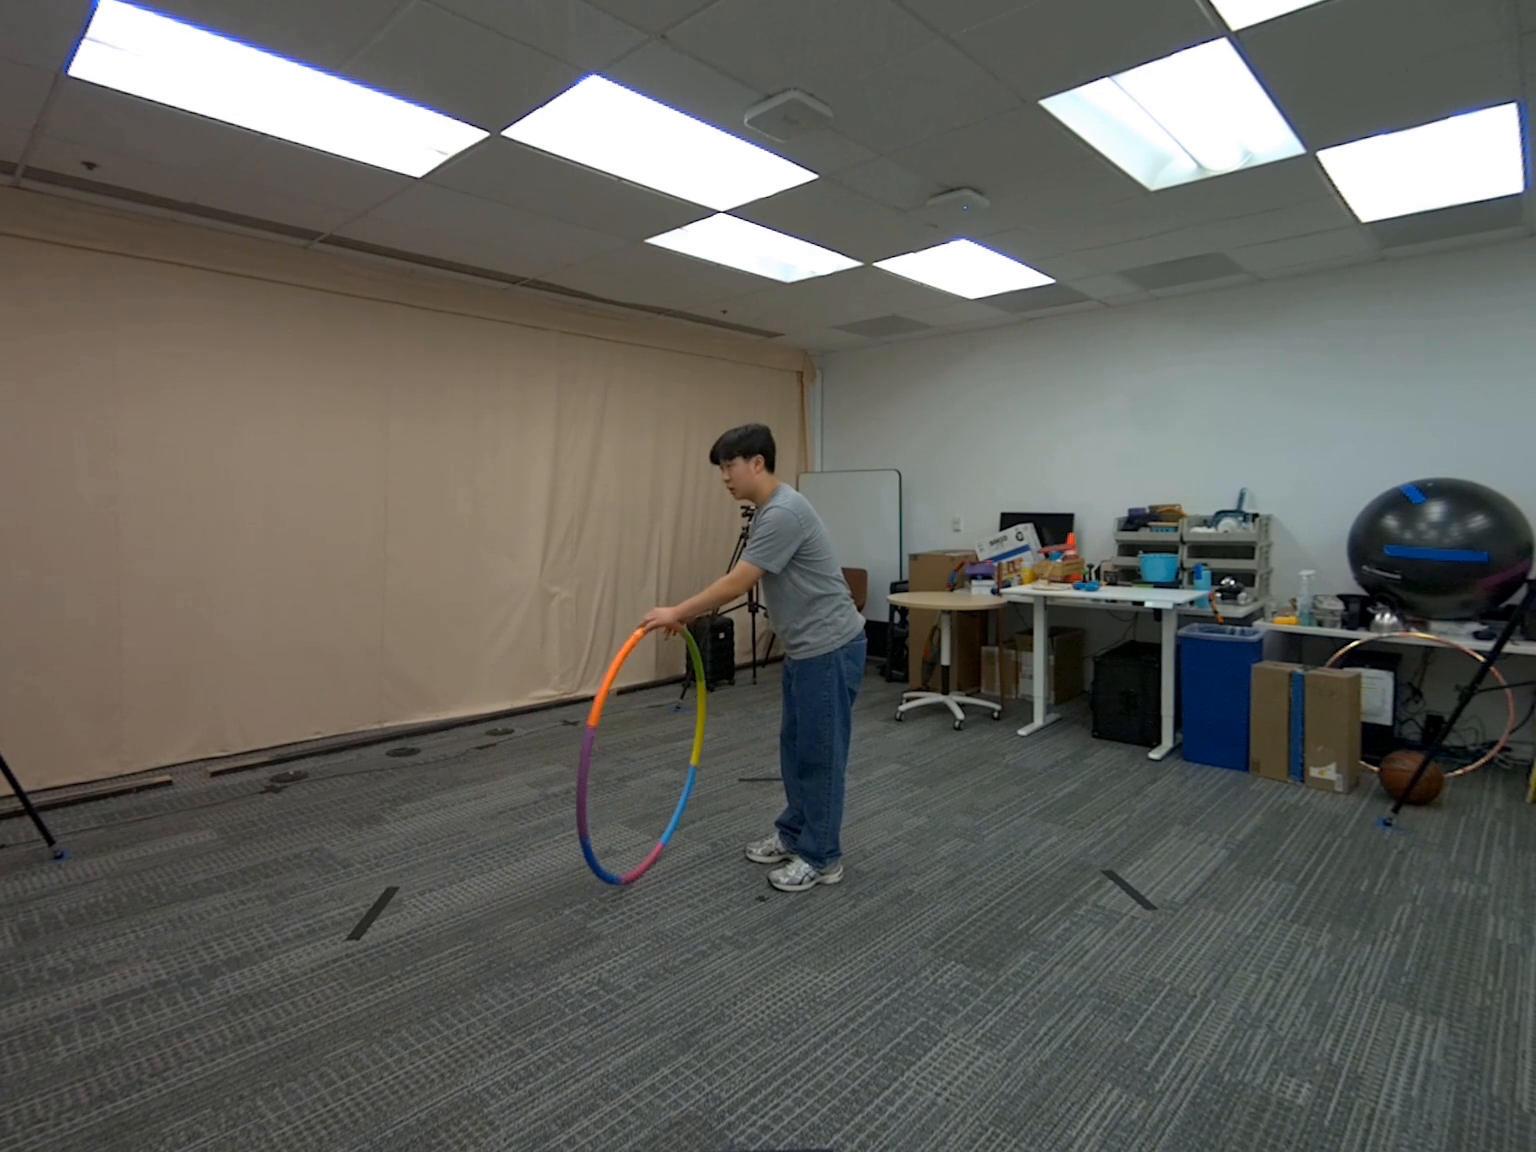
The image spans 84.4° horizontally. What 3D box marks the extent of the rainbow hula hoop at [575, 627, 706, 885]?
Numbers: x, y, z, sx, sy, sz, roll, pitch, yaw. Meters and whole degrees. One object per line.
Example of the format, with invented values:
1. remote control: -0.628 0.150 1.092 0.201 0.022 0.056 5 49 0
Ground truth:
1. rainbow hula hoop: -0.445 0.651 3.158 0.036 0.976 0.959 6 6 19
